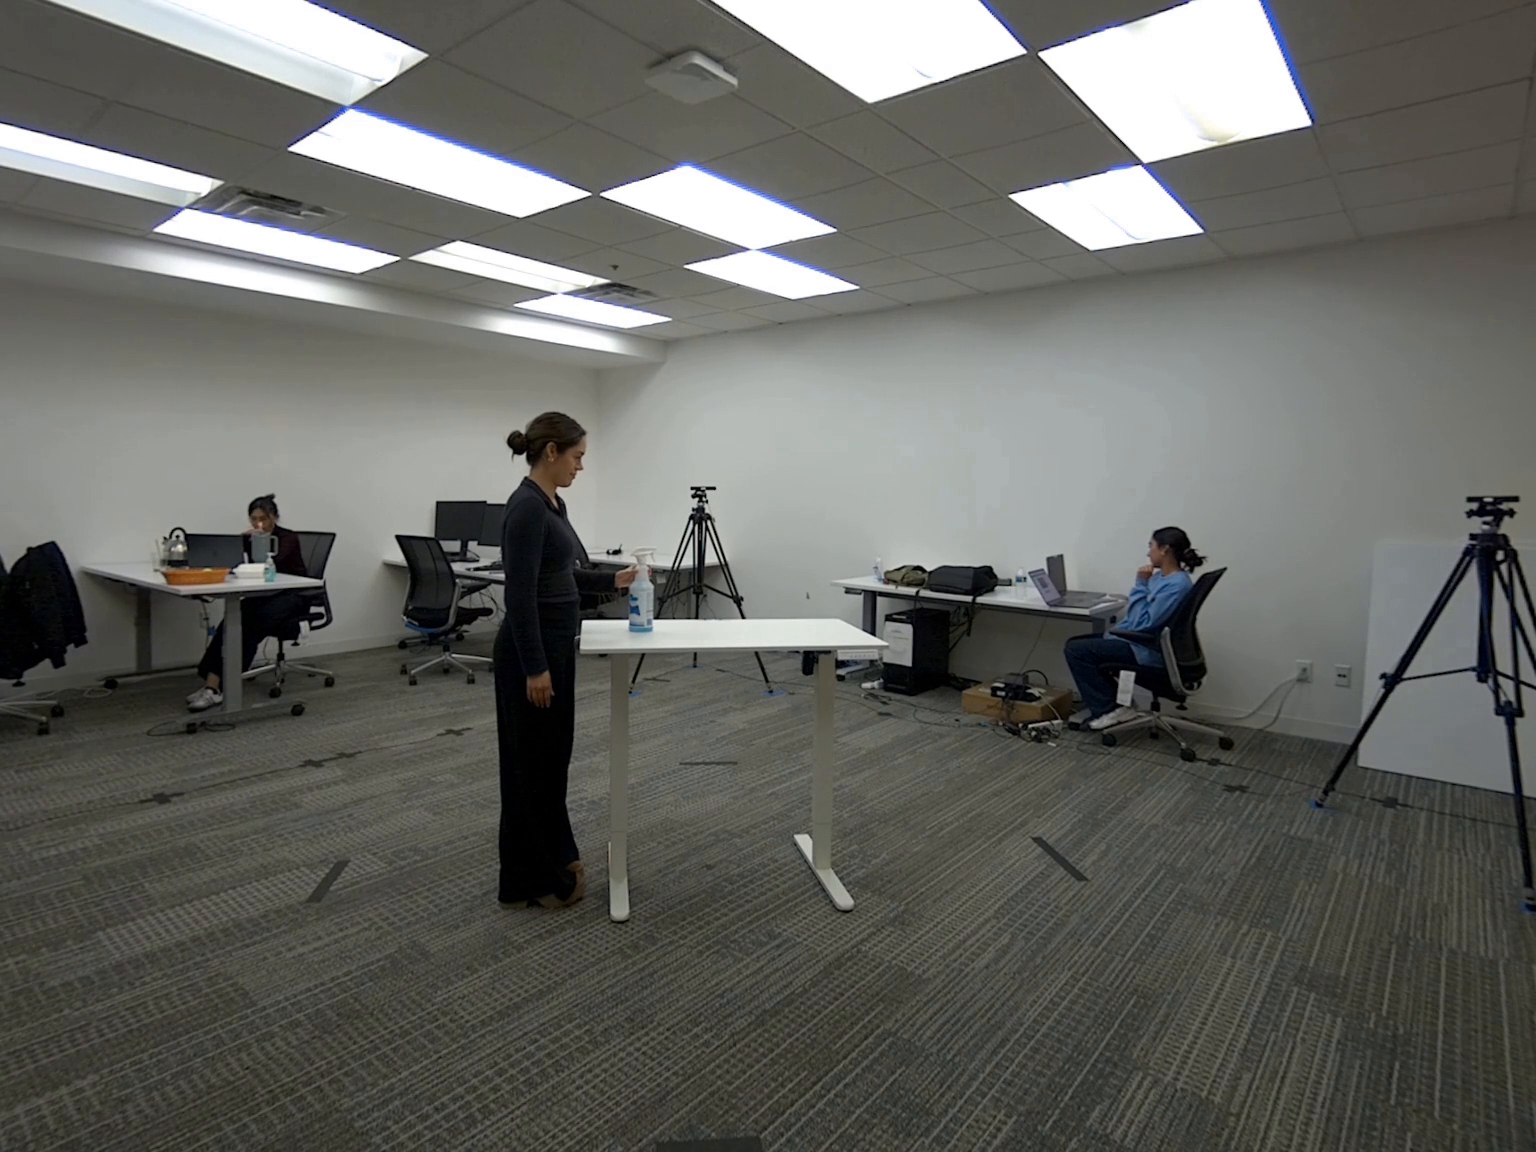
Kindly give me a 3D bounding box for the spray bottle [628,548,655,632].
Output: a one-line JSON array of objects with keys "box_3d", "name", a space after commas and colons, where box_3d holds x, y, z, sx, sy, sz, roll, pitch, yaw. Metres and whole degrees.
[{"box_3d": [-0.464, 0.049, 2.995, 0.091, 0.297, 0.086, 2, 2, 12], "name": "spray bottle"}]
